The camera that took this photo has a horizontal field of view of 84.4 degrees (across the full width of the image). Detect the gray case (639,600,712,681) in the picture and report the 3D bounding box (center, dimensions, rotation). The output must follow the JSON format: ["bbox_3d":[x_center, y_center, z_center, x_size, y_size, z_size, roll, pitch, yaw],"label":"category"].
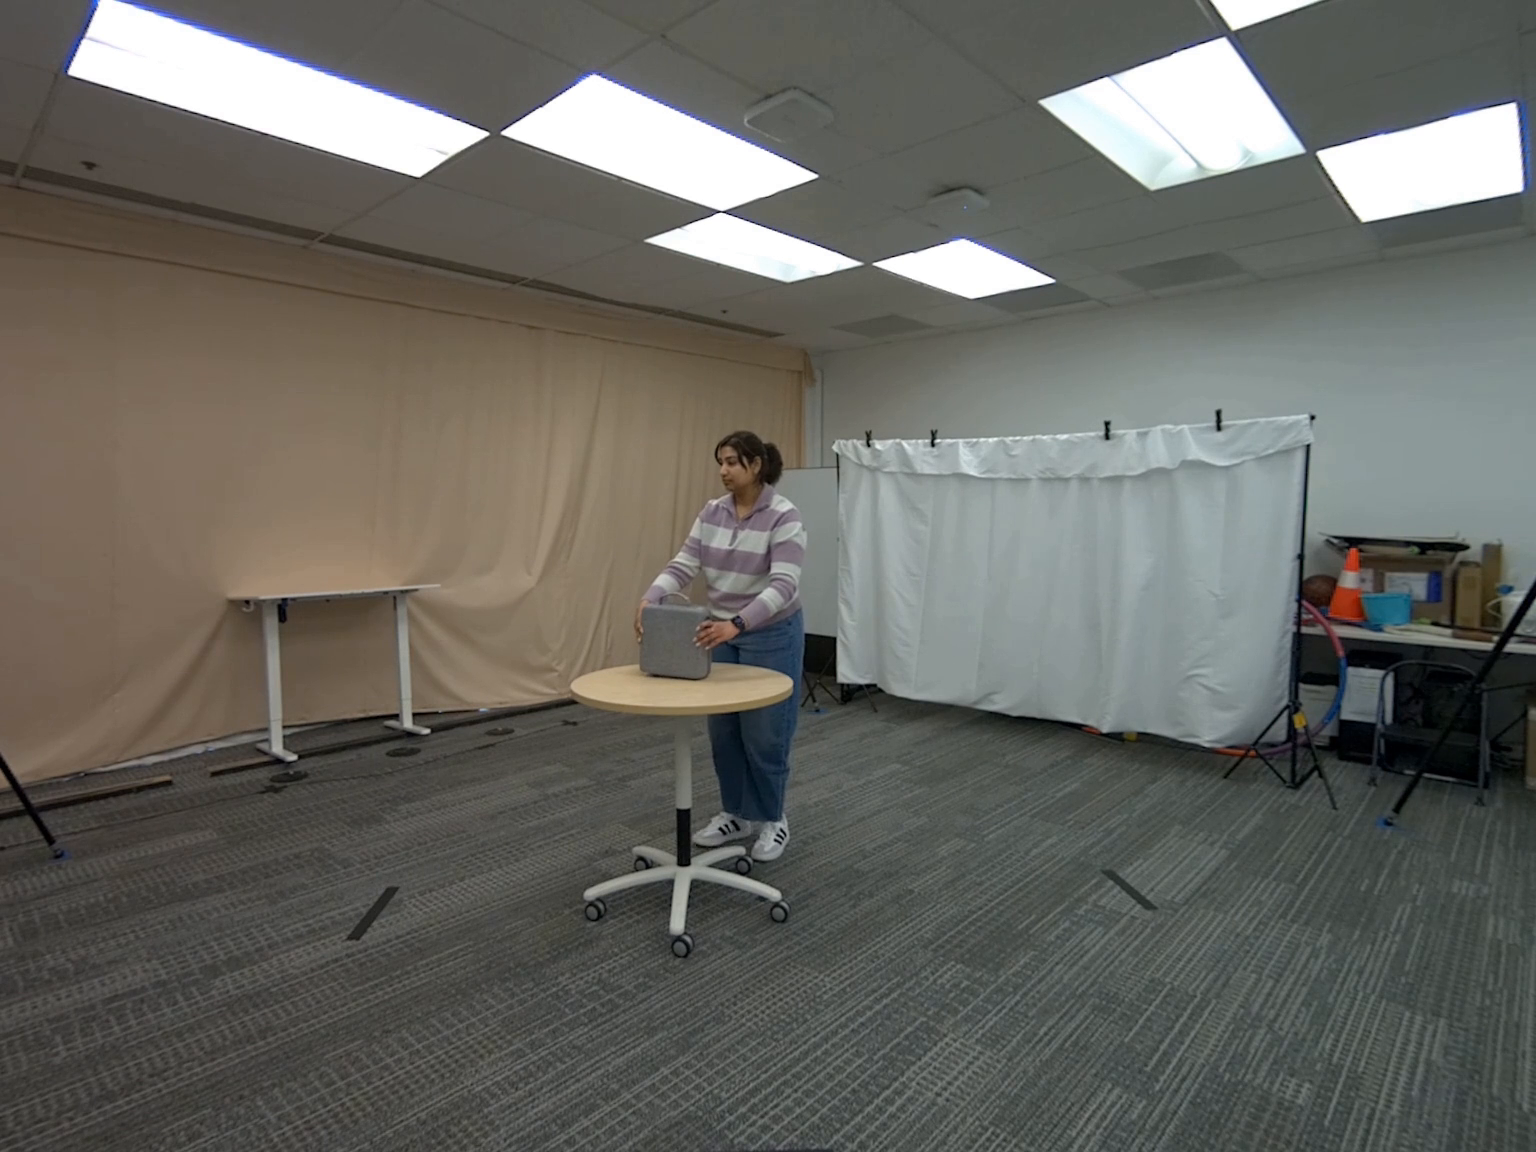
[{"bbox_3d":[-0.323,0.228,2.999,0.263,0.260,0.102,3,1,22],"label":"gray case"}]
